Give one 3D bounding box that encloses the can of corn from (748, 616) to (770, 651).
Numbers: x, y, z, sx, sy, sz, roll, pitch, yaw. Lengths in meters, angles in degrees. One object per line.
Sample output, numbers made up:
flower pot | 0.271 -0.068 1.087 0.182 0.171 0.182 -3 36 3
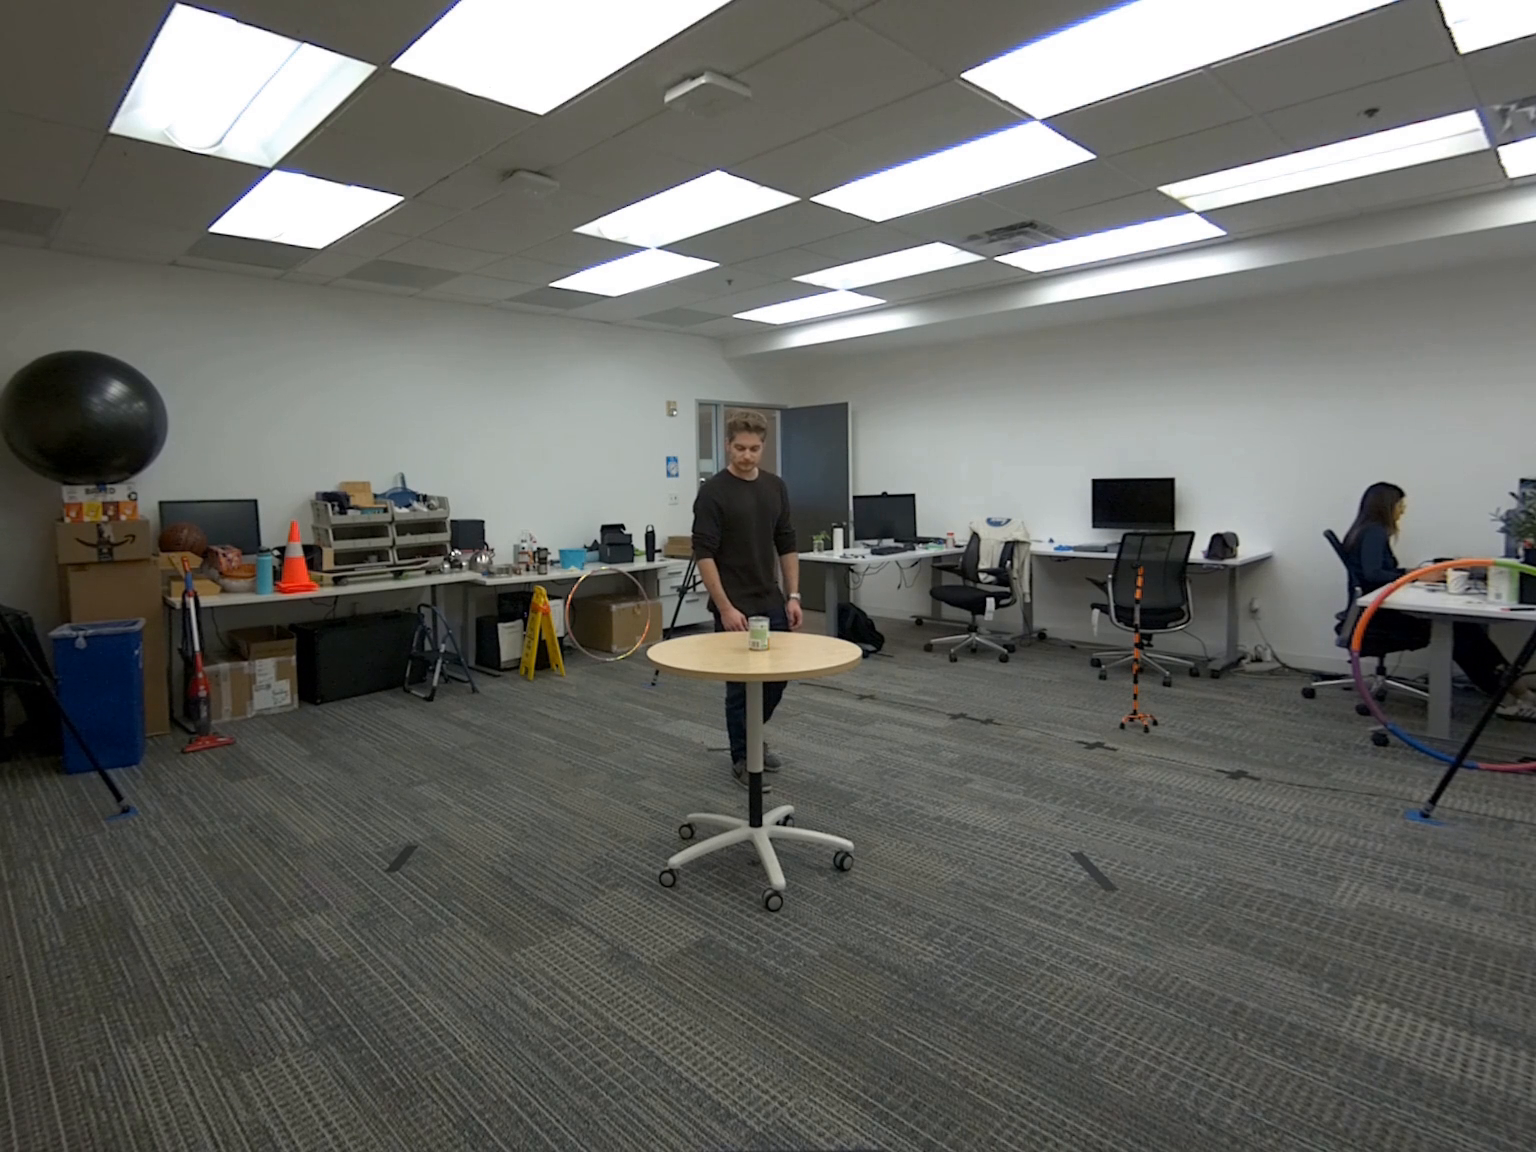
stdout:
can of corn | -0.033 0.211 3.066 0.074 0.111 0.074 -1 2 -2
